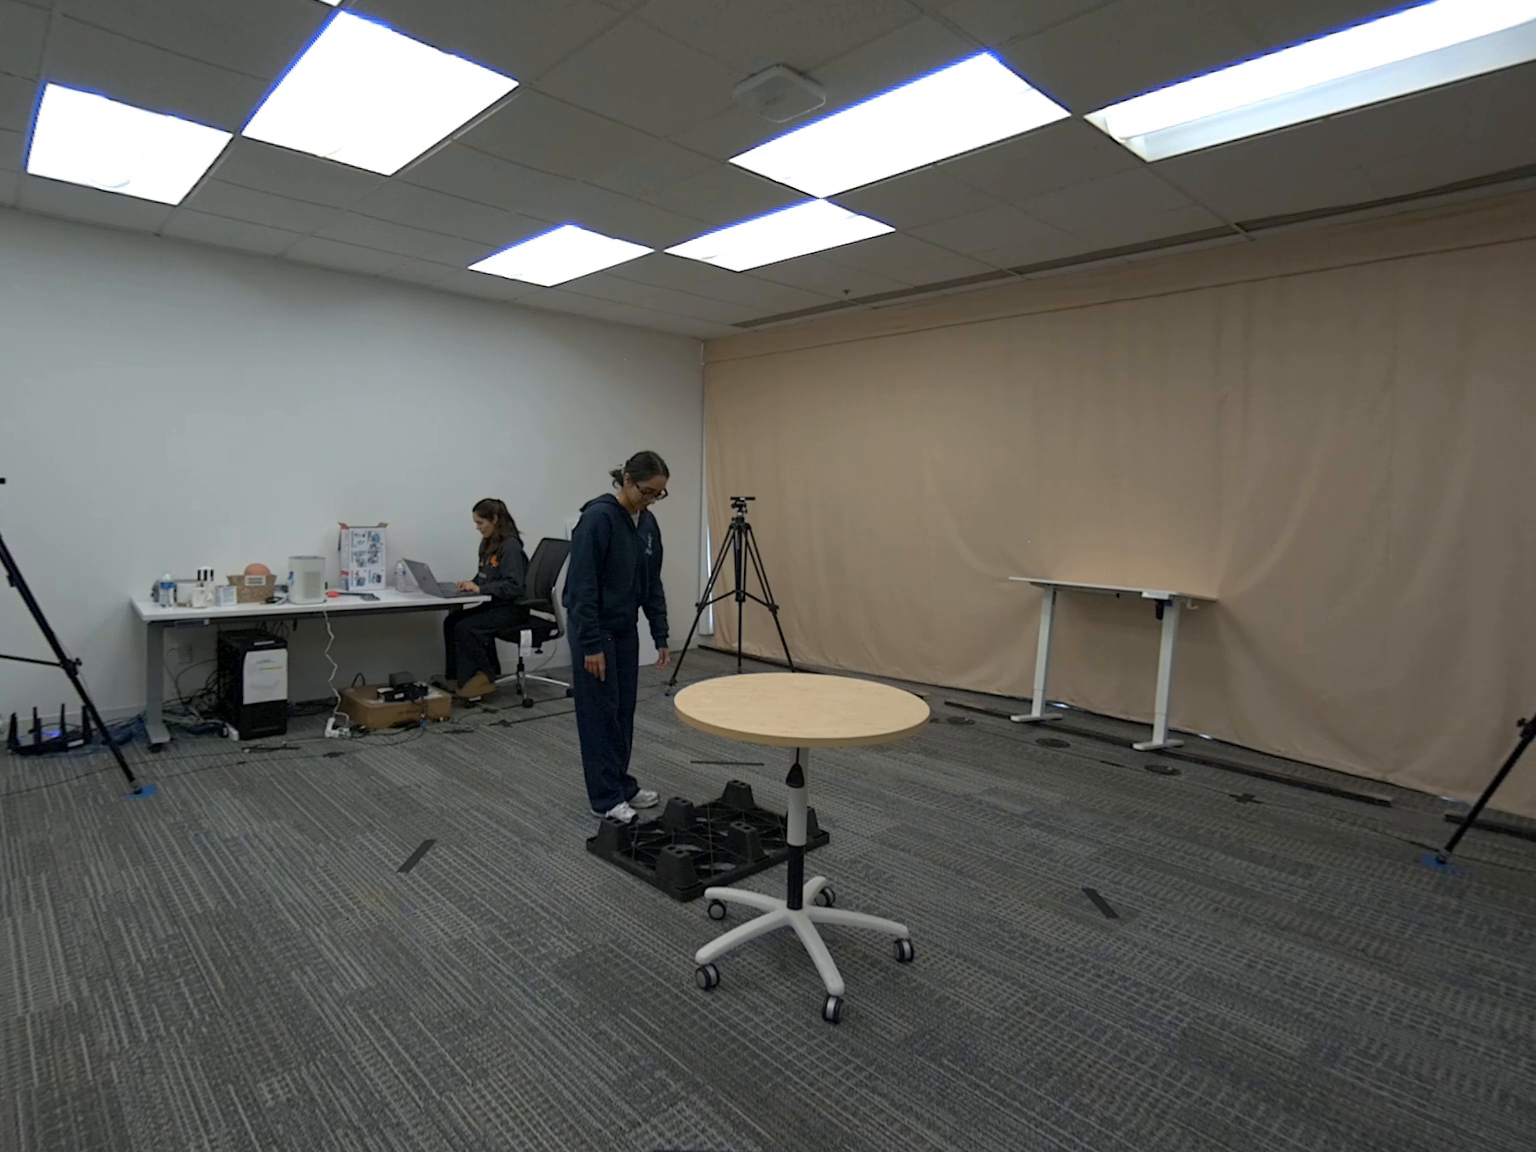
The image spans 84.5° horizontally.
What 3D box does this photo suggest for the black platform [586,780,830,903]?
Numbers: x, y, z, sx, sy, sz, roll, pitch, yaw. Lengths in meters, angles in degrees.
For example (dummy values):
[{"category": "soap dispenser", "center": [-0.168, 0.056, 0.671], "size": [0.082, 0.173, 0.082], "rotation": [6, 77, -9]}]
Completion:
[{"category": "black platform", "center": [-0.237, 1.017, 3.359], "size": [0.621, 0.143, 0.787], "rotation": [6, 7, 44]}]
